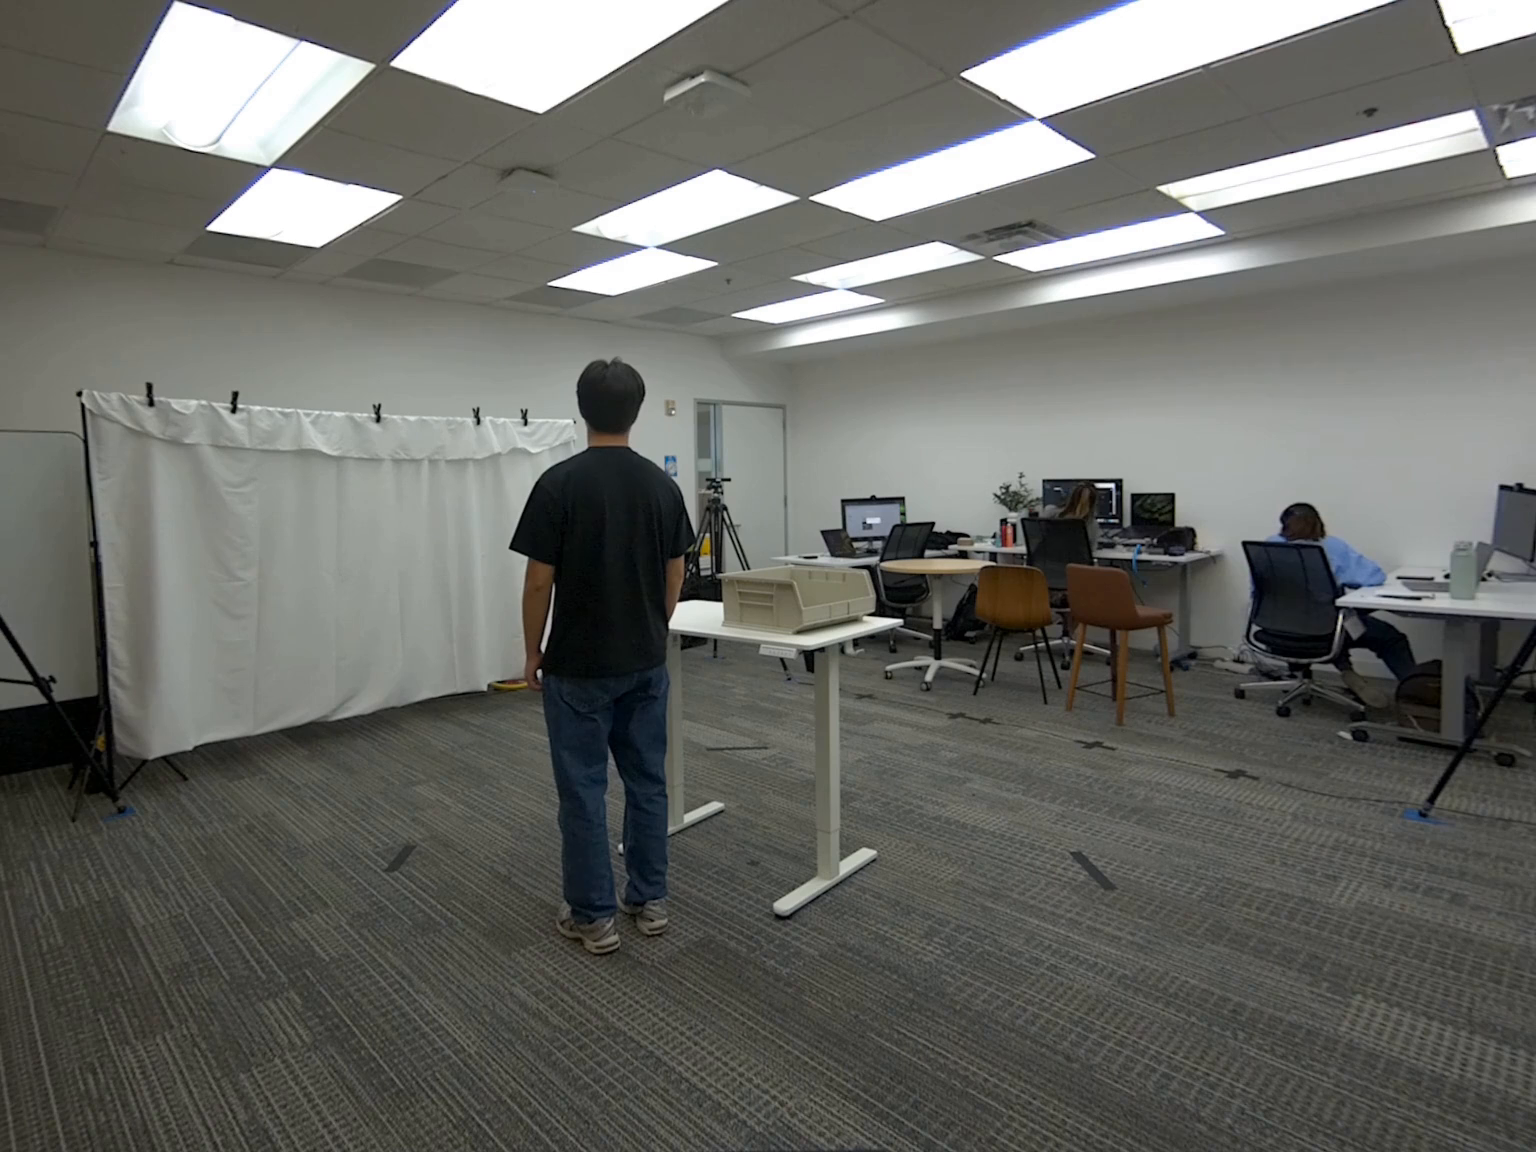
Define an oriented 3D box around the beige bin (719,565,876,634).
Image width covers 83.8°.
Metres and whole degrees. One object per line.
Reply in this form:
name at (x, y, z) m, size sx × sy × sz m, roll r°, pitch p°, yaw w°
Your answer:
beige bin at (0.105, 0.081, 2.994) m, size 0.388 × 0.188 × 0.411 m, roll 2°, pitch 7°, yaw 43°
